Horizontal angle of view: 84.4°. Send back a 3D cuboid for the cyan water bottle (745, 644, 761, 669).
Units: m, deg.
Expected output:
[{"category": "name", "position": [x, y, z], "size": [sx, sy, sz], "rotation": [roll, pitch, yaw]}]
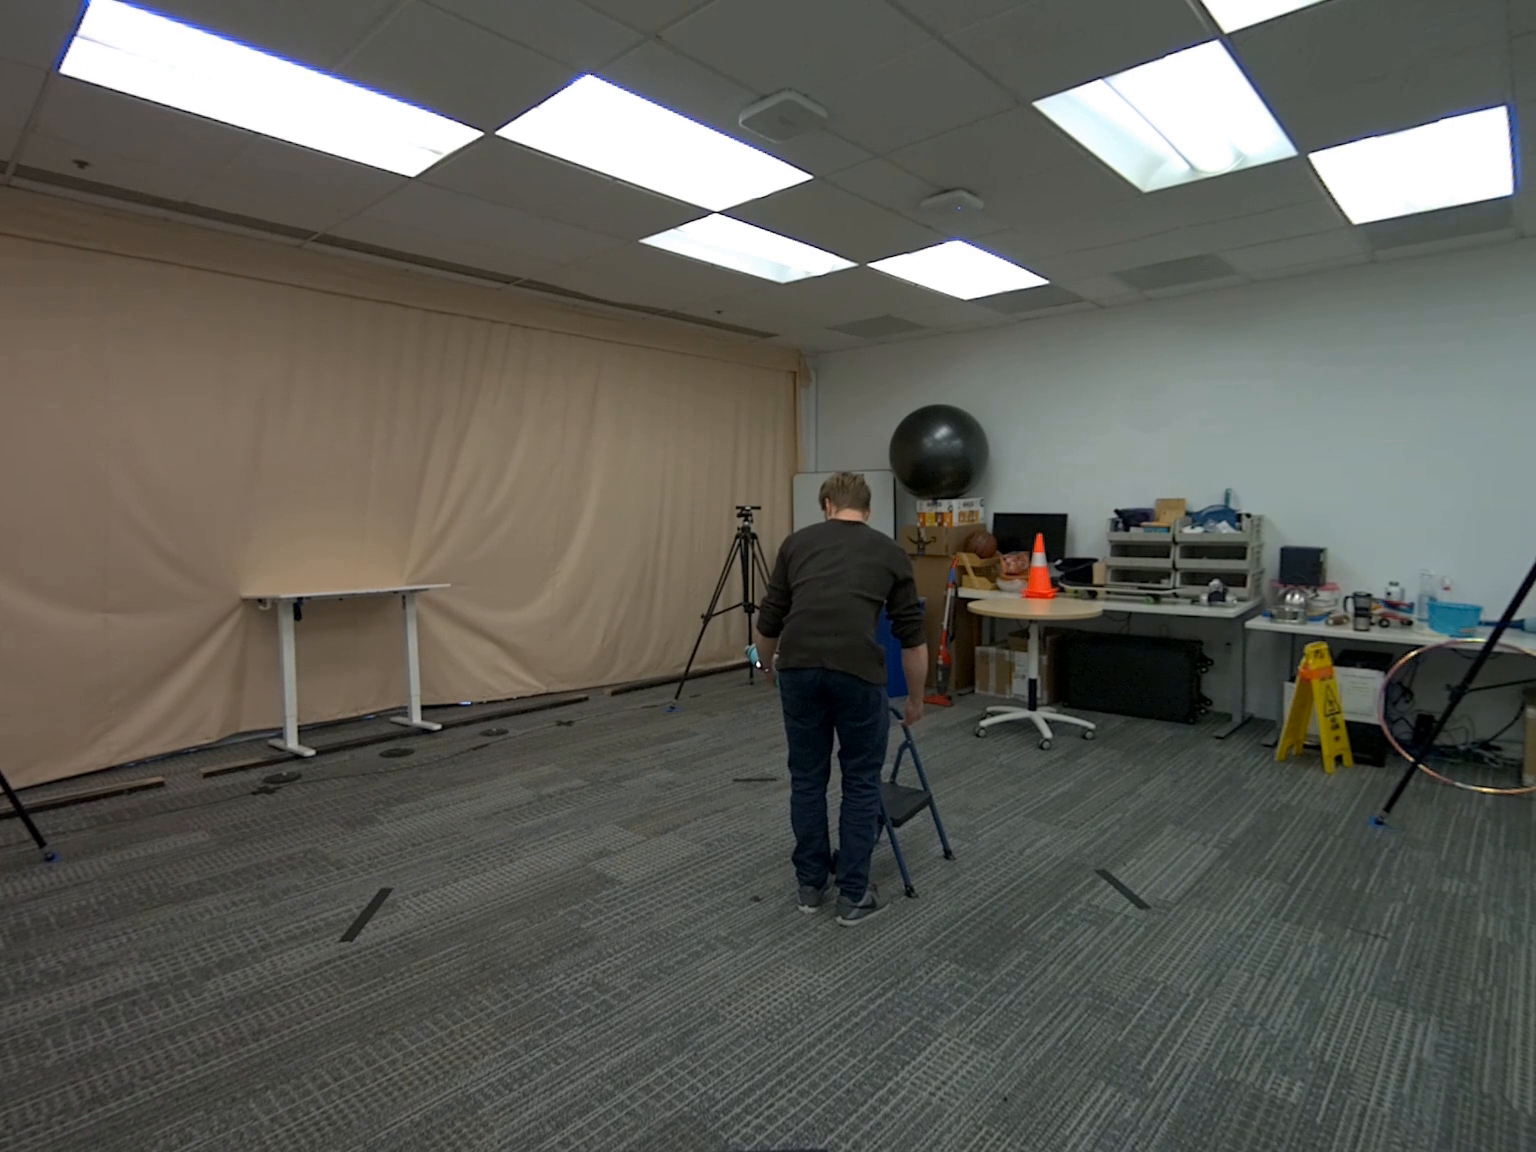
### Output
[{"category": "cyan water bottle", "position": [0.021, 0.353, 3.347], "size": [0.089, 0.091, 0.294], "rotation": [-3, 23, -36]}]
